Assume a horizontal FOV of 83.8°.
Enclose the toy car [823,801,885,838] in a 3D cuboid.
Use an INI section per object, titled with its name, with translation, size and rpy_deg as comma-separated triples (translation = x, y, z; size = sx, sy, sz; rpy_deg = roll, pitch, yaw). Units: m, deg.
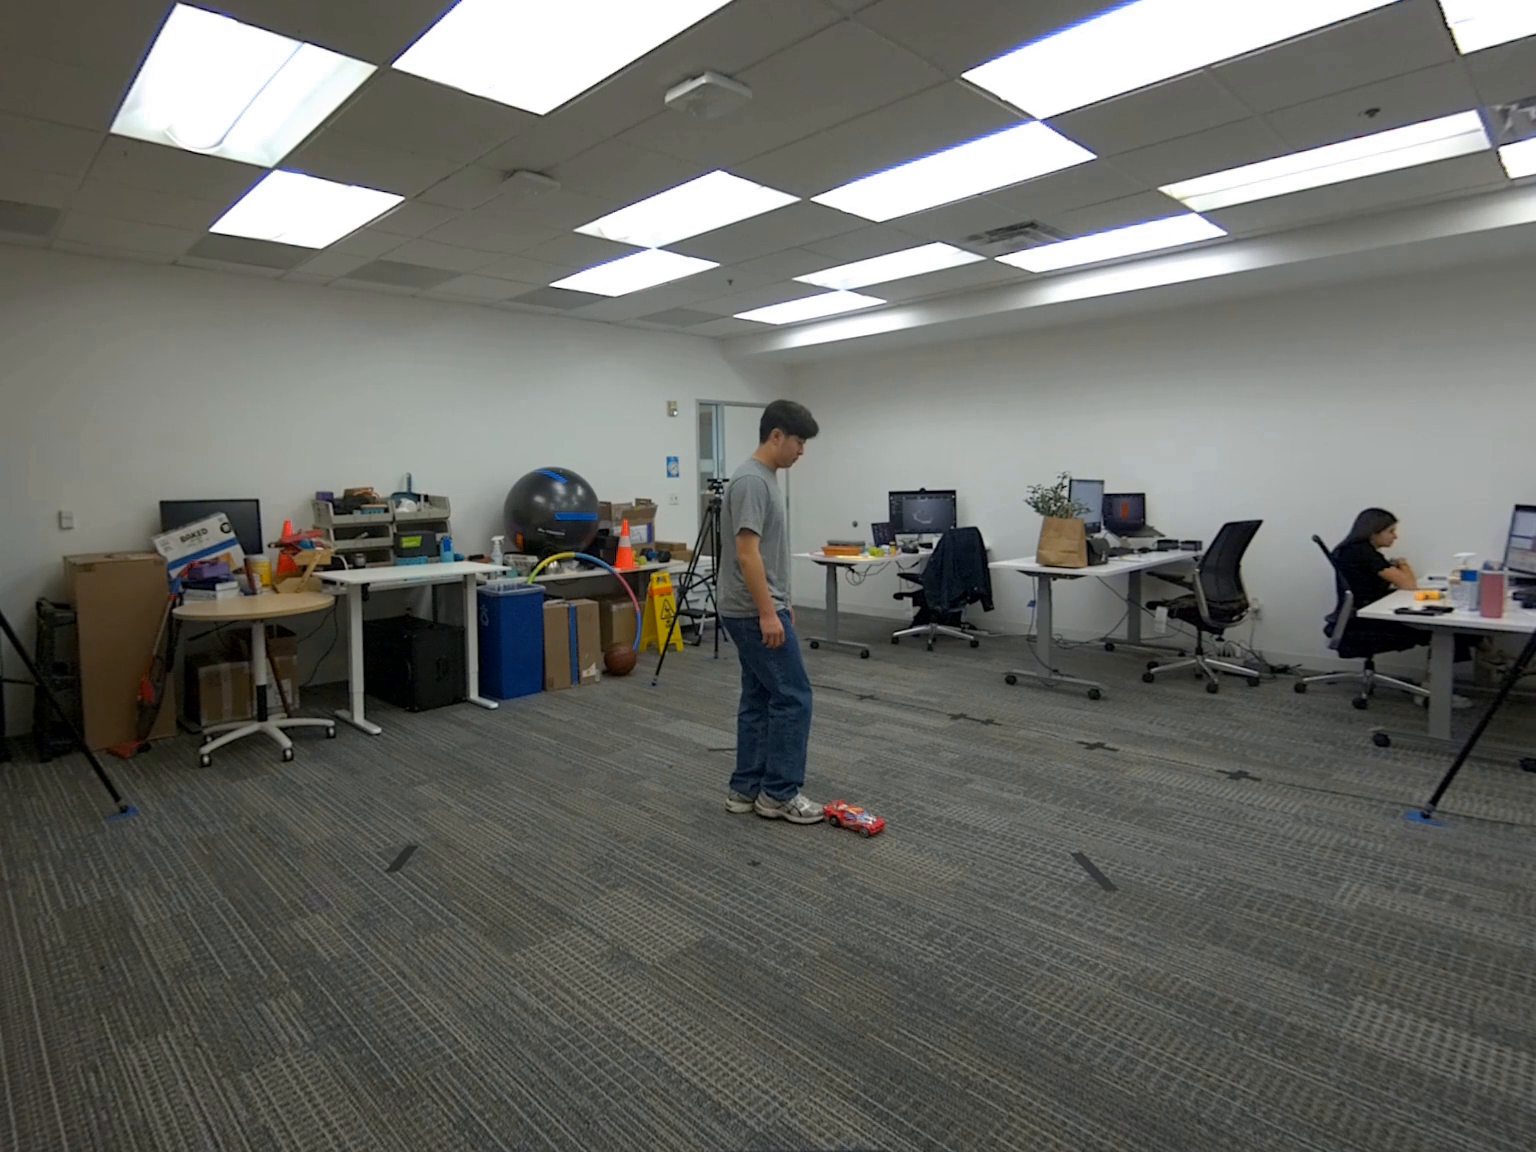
[toy car]
translation = 0.343, 0.969, 3.413
size = 0.127, 0.082, 0.264
rpy_deg = -6, 20, -45
